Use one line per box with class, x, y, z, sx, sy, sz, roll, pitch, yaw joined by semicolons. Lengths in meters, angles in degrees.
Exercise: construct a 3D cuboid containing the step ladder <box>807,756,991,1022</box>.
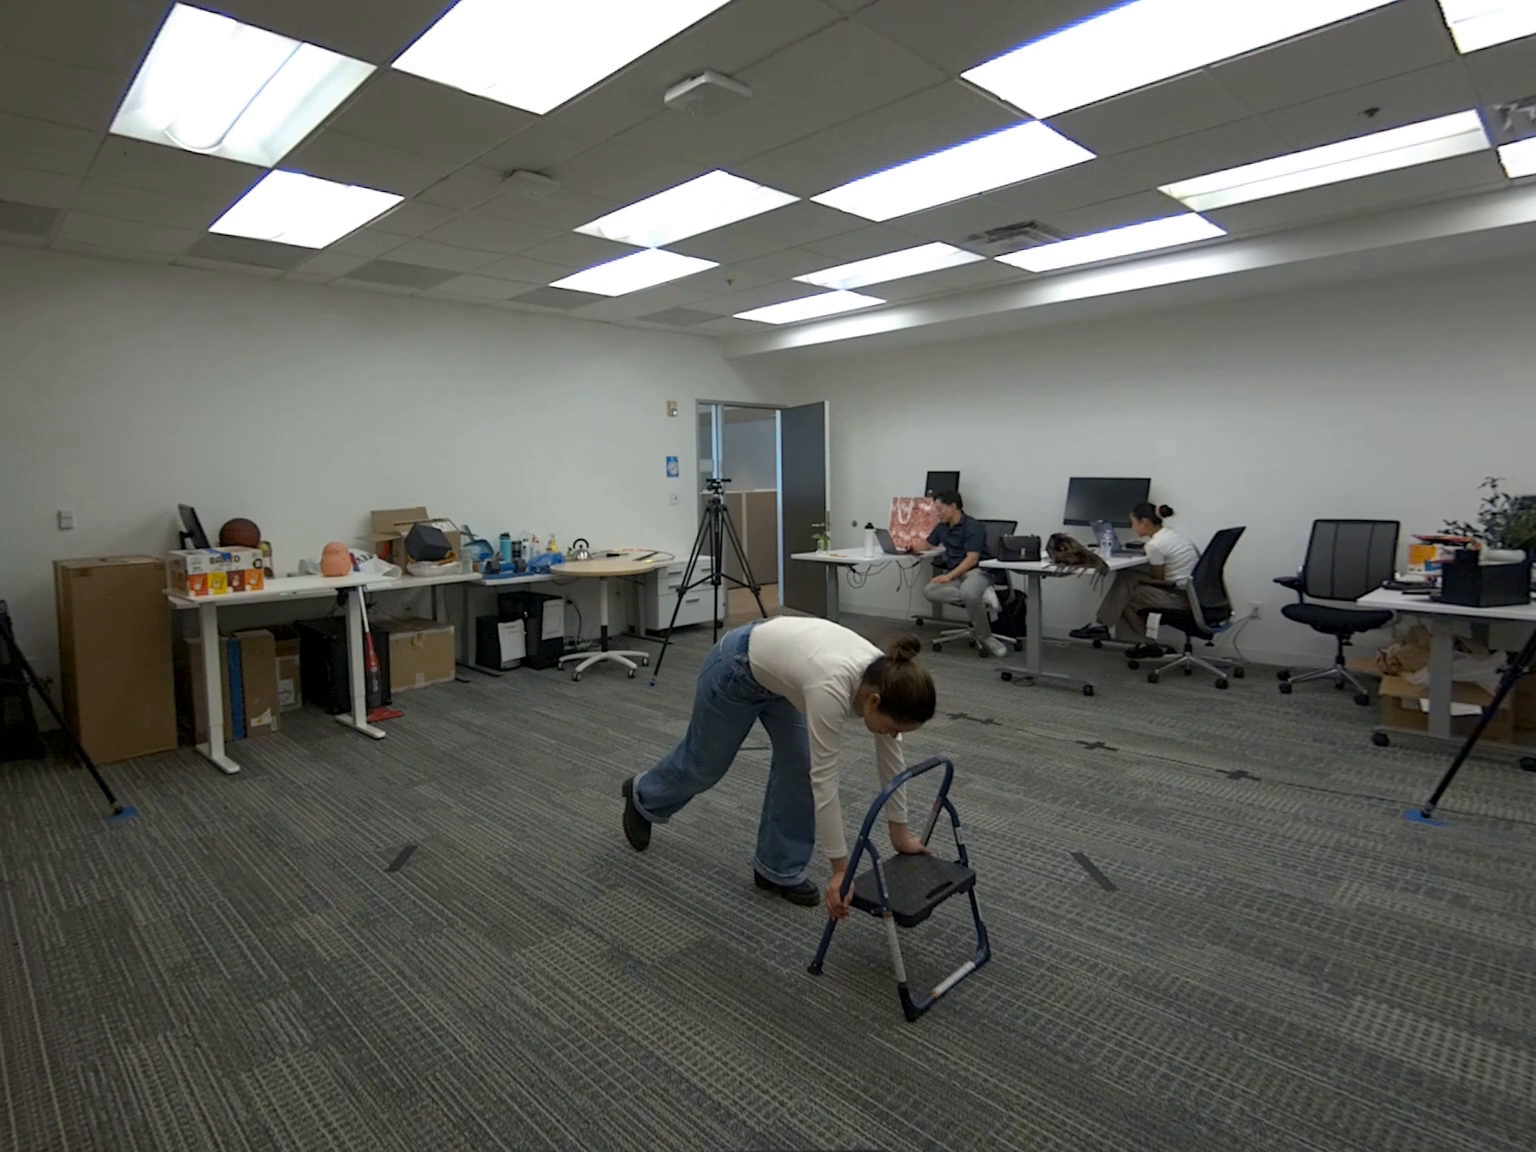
step ladder;0.383;0.815;2.425;0.360;0.604;0.419;3;6;43
